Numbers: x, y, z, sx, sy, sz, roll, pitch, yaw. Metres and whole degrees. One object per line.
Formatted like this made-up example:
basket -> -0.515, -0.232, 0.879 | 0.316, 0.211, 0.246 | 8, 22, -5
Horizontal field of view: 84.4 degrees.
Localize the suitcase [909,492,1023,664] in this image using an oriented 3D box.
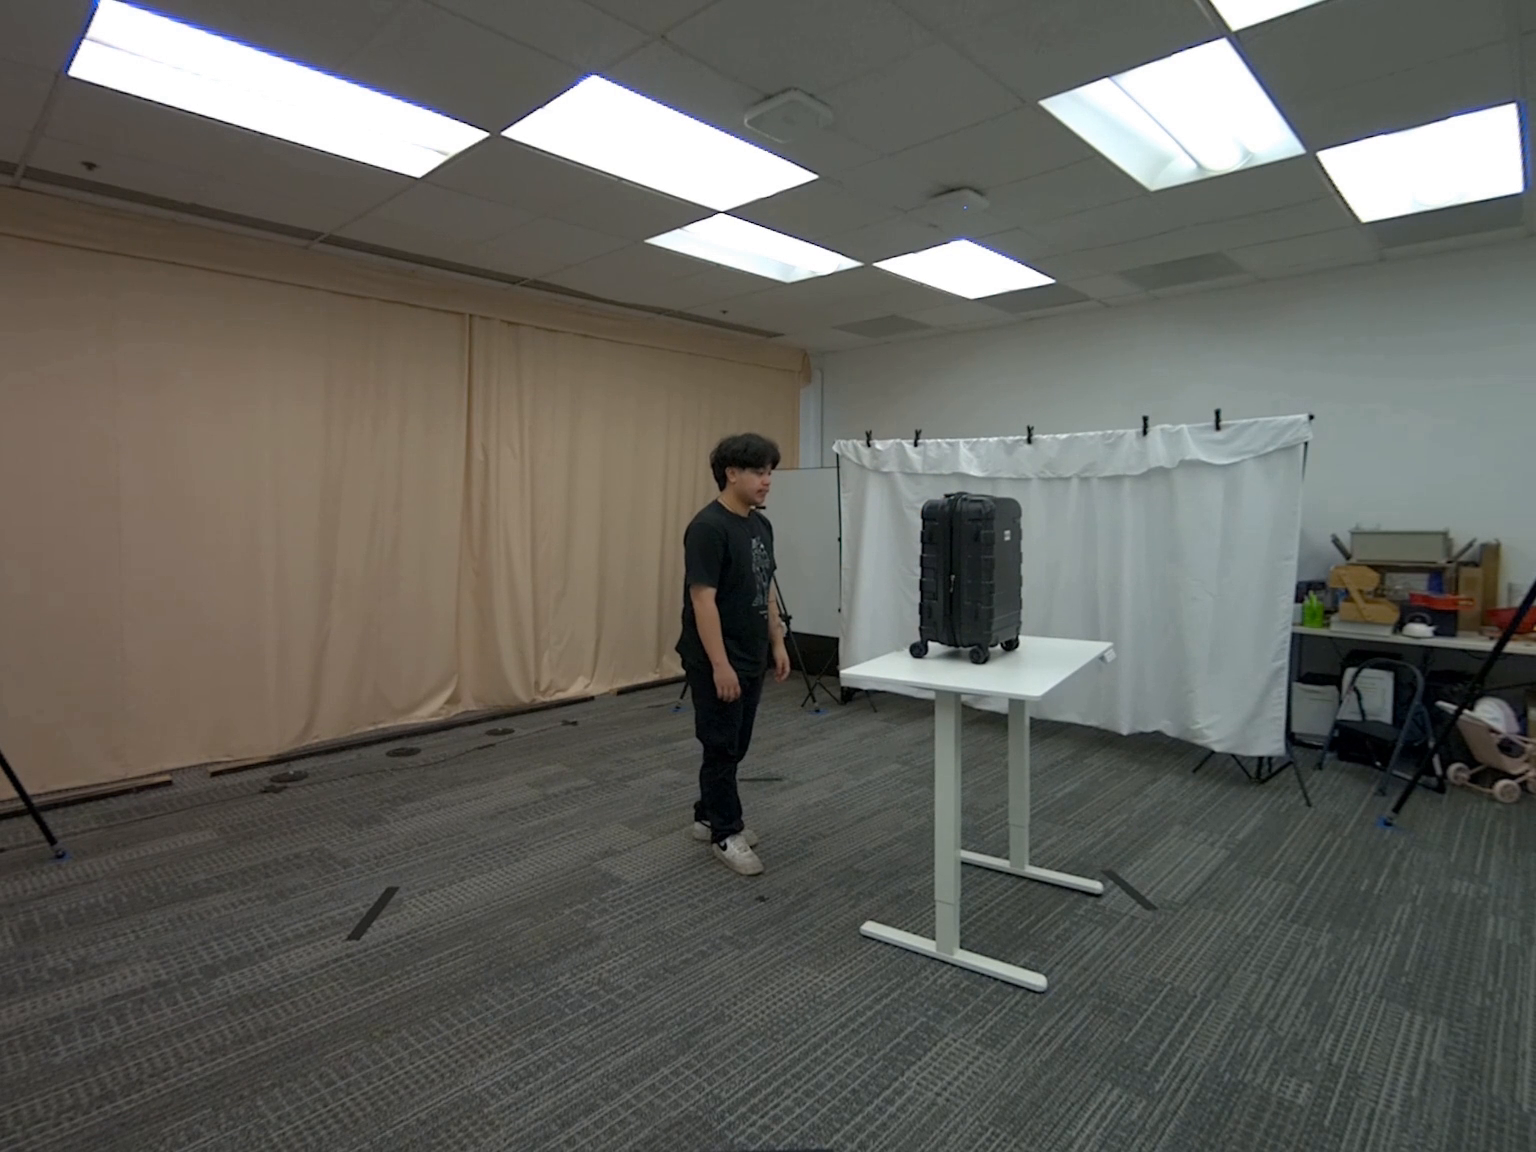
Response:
suitcase -> 0.694, -0.007, 2.857 | 0.256, 0.548, 0.364 | 3, 5, 35
